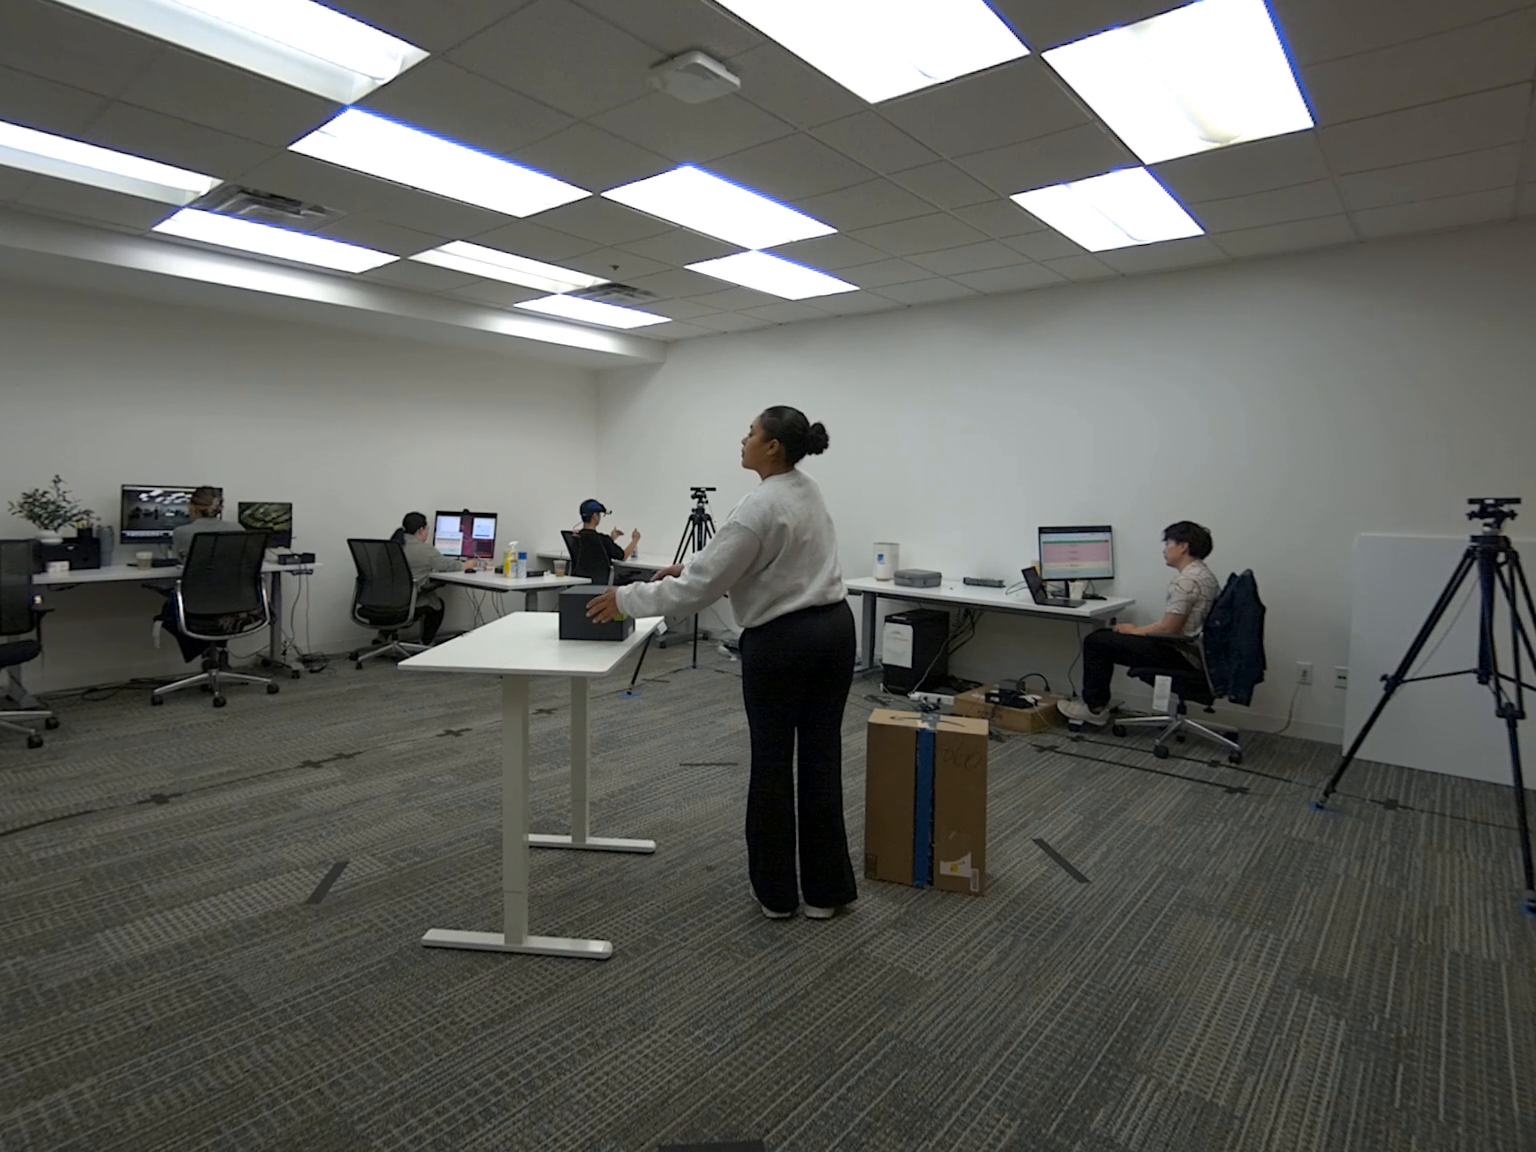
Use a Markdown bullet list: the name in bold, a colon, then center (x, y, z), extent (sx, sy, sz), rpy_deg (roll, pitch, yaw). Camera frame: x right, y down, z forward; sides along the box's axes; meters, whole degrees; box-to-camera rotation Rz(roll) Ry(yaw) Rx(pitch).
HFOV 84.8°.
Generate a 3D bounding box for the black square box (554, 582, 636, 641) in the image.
- **black square box**: center (-0.590, 0.118, 2.882), extent (0.218, 0.155, 0.228), rpy_deg (-1, 7, 4)
